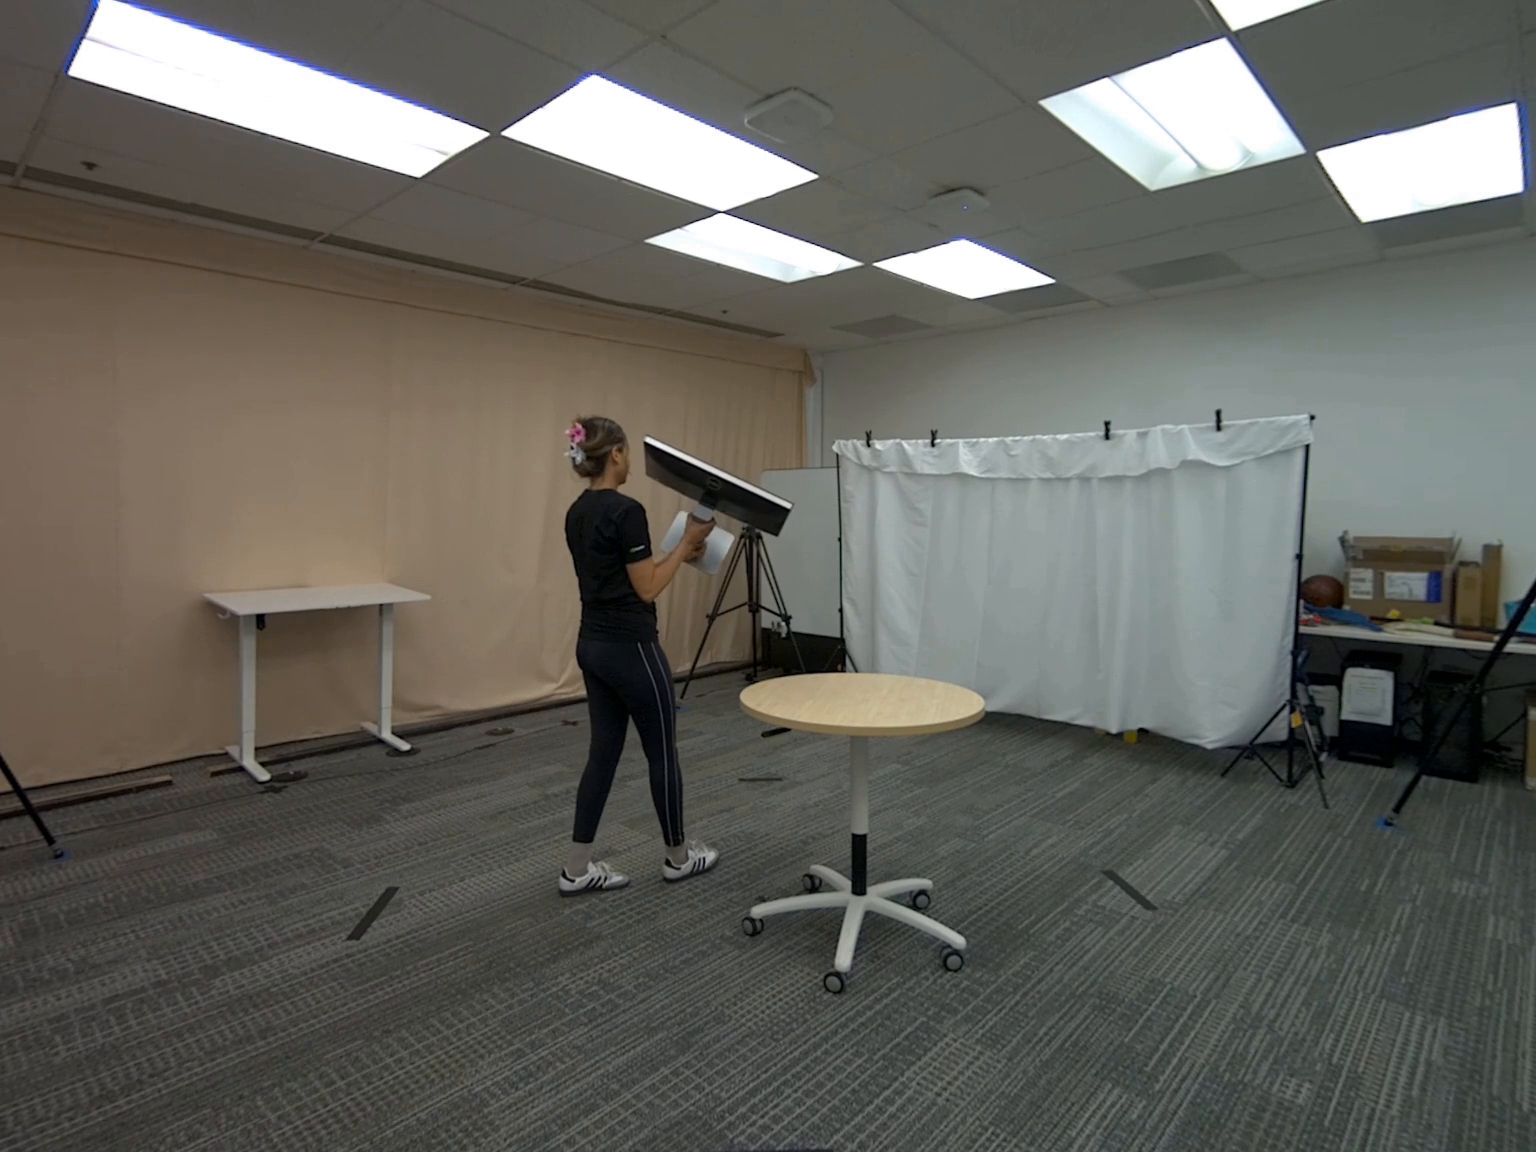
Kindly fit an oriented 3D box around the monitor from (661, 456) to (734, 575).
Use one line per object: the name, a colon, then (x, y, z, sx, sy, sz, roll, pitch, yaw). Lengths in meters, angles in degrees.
monitor: (-0.217, -0.248, 3.088, 0.540, 0.187, 0.520, 24, -28, 1)
